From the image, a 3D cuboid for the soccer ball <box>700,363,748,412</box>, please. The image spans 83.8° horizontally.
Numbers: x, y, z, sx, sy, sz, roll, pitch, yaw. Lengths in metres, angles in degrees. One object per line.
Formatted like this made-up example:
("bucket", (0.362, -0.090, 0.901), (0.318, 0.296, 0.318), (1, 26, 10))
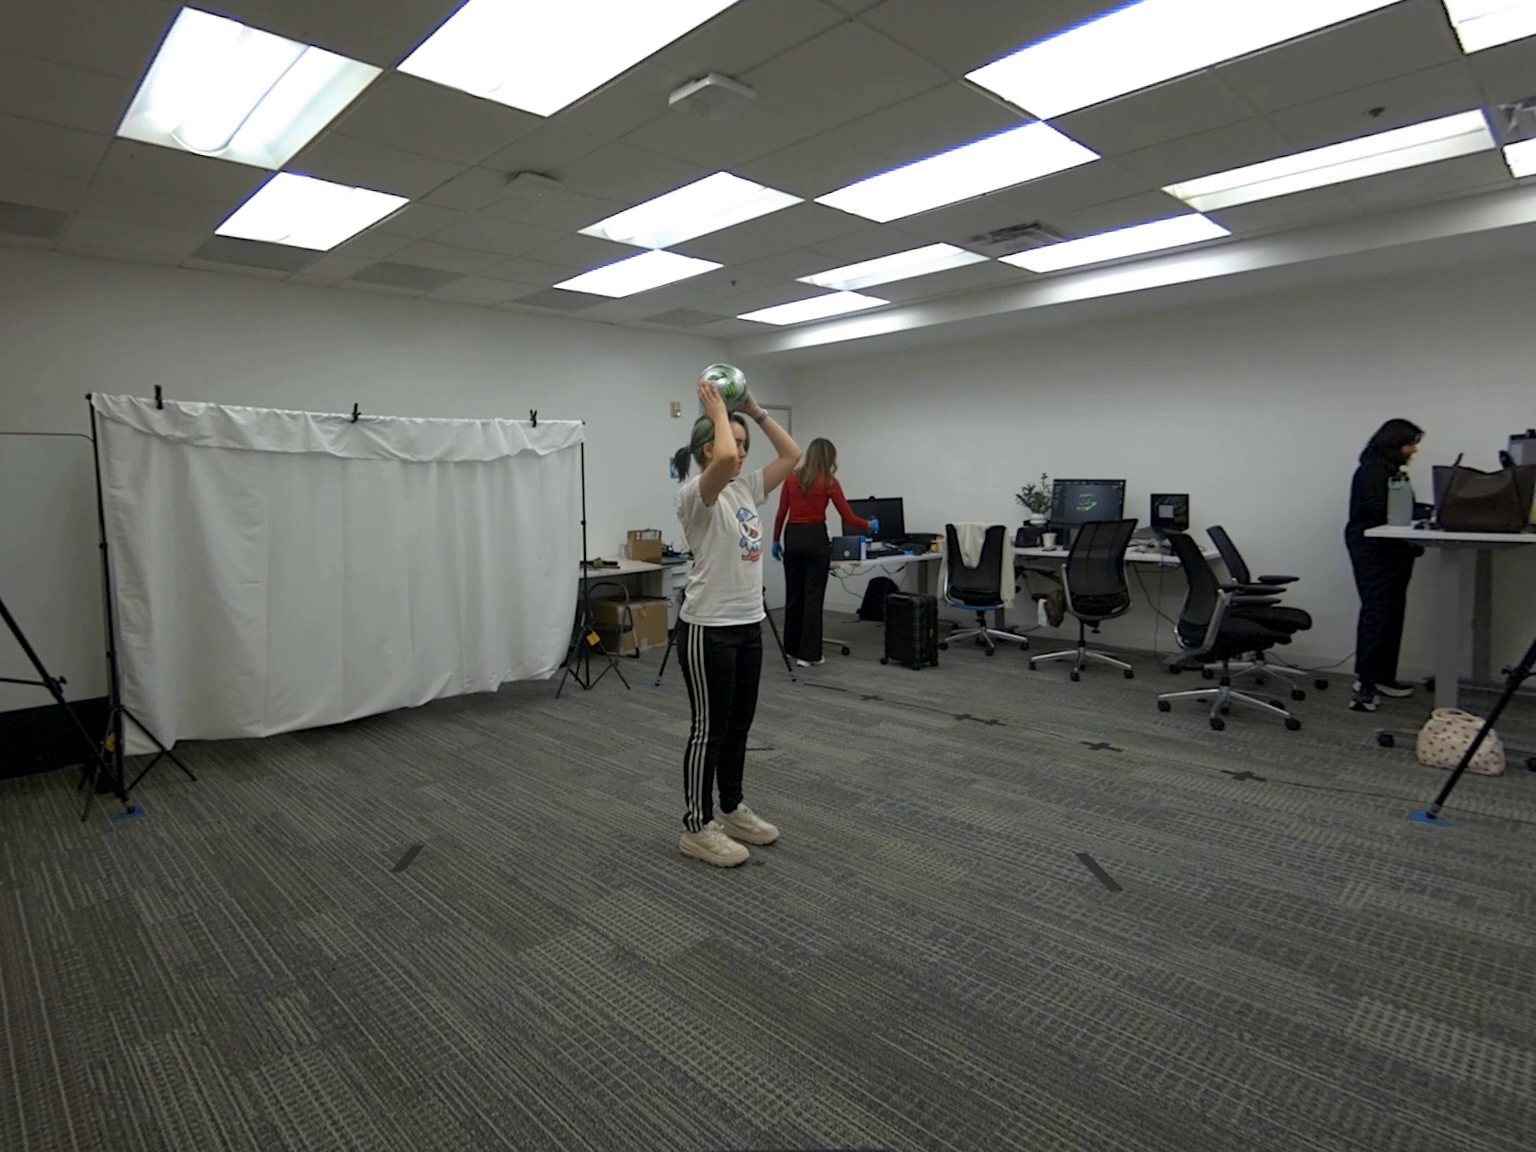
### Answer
("soccer ball", (-0.170, -0.684, 3.148), (0.187, 0.187, 0.188), (-1, 5, -2))
